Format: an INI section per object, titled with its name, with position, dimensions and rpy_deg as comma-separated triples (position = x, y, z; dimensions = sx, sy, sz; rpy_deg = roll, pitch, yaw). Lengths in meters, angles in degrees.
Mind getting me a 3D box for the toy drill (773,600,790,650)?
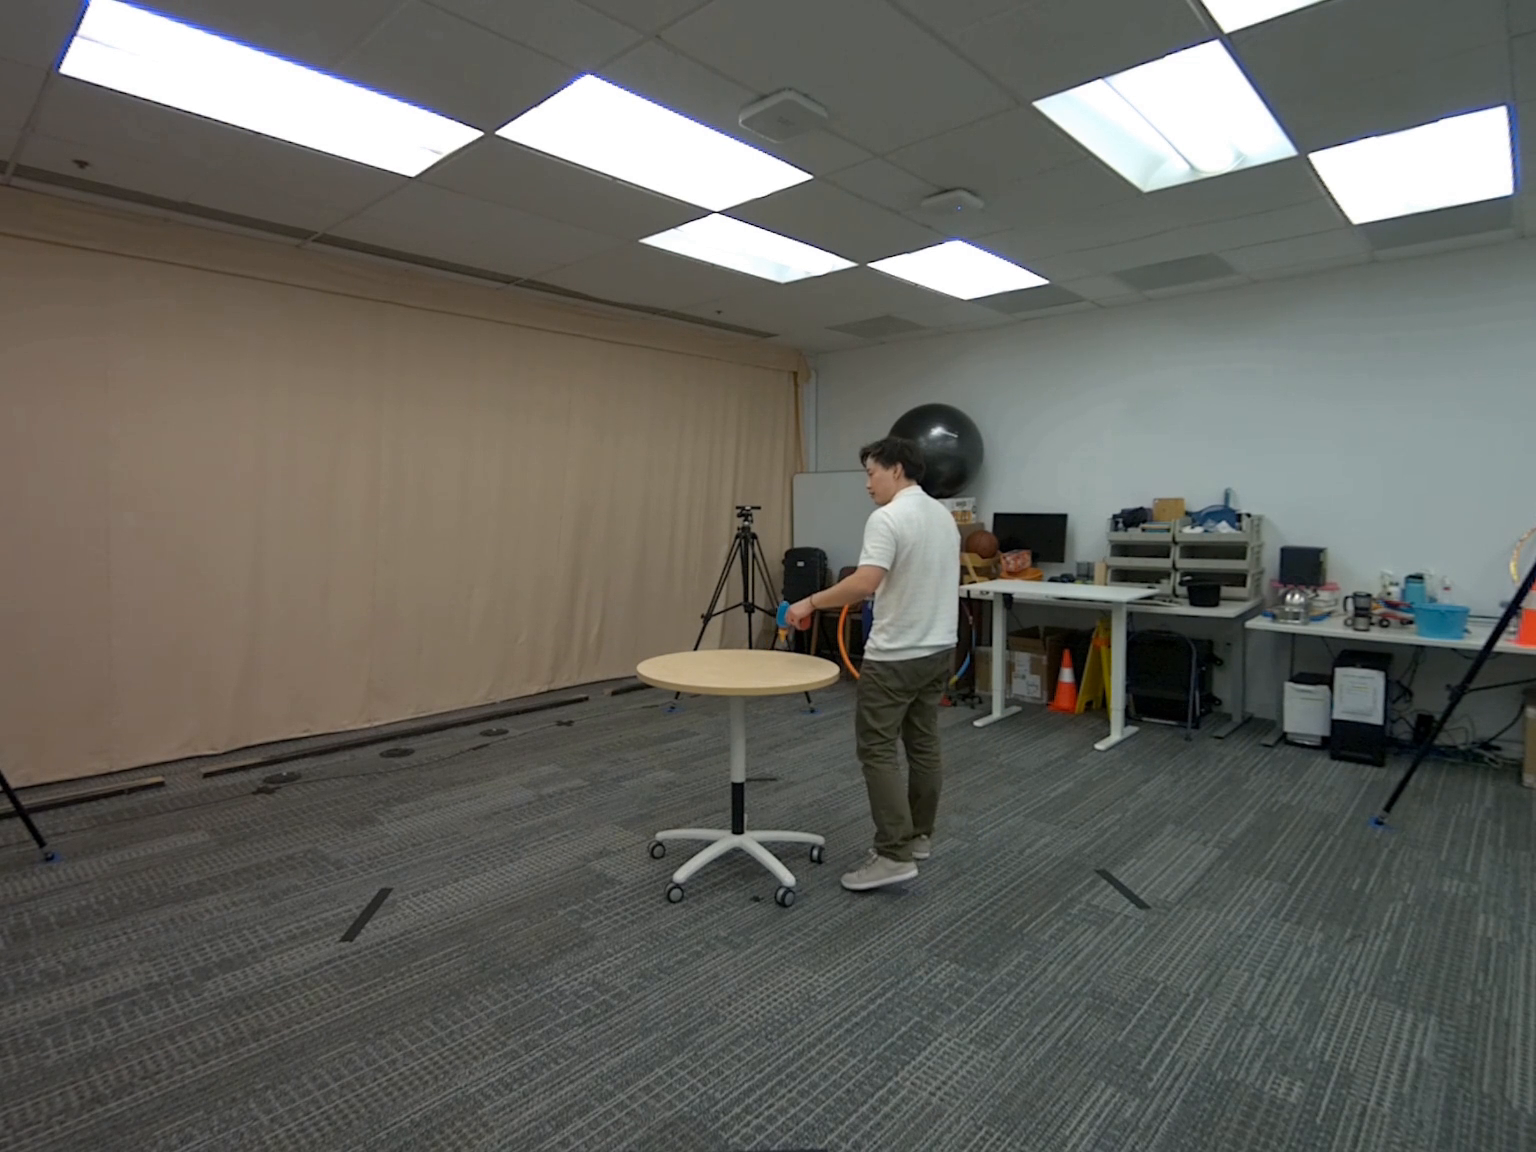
[toy drill]
position = 0.095, 0.196, 3.284
dimensions = 0.059, 0.168, 0.151
rpy_deg = -7, 19, -43
